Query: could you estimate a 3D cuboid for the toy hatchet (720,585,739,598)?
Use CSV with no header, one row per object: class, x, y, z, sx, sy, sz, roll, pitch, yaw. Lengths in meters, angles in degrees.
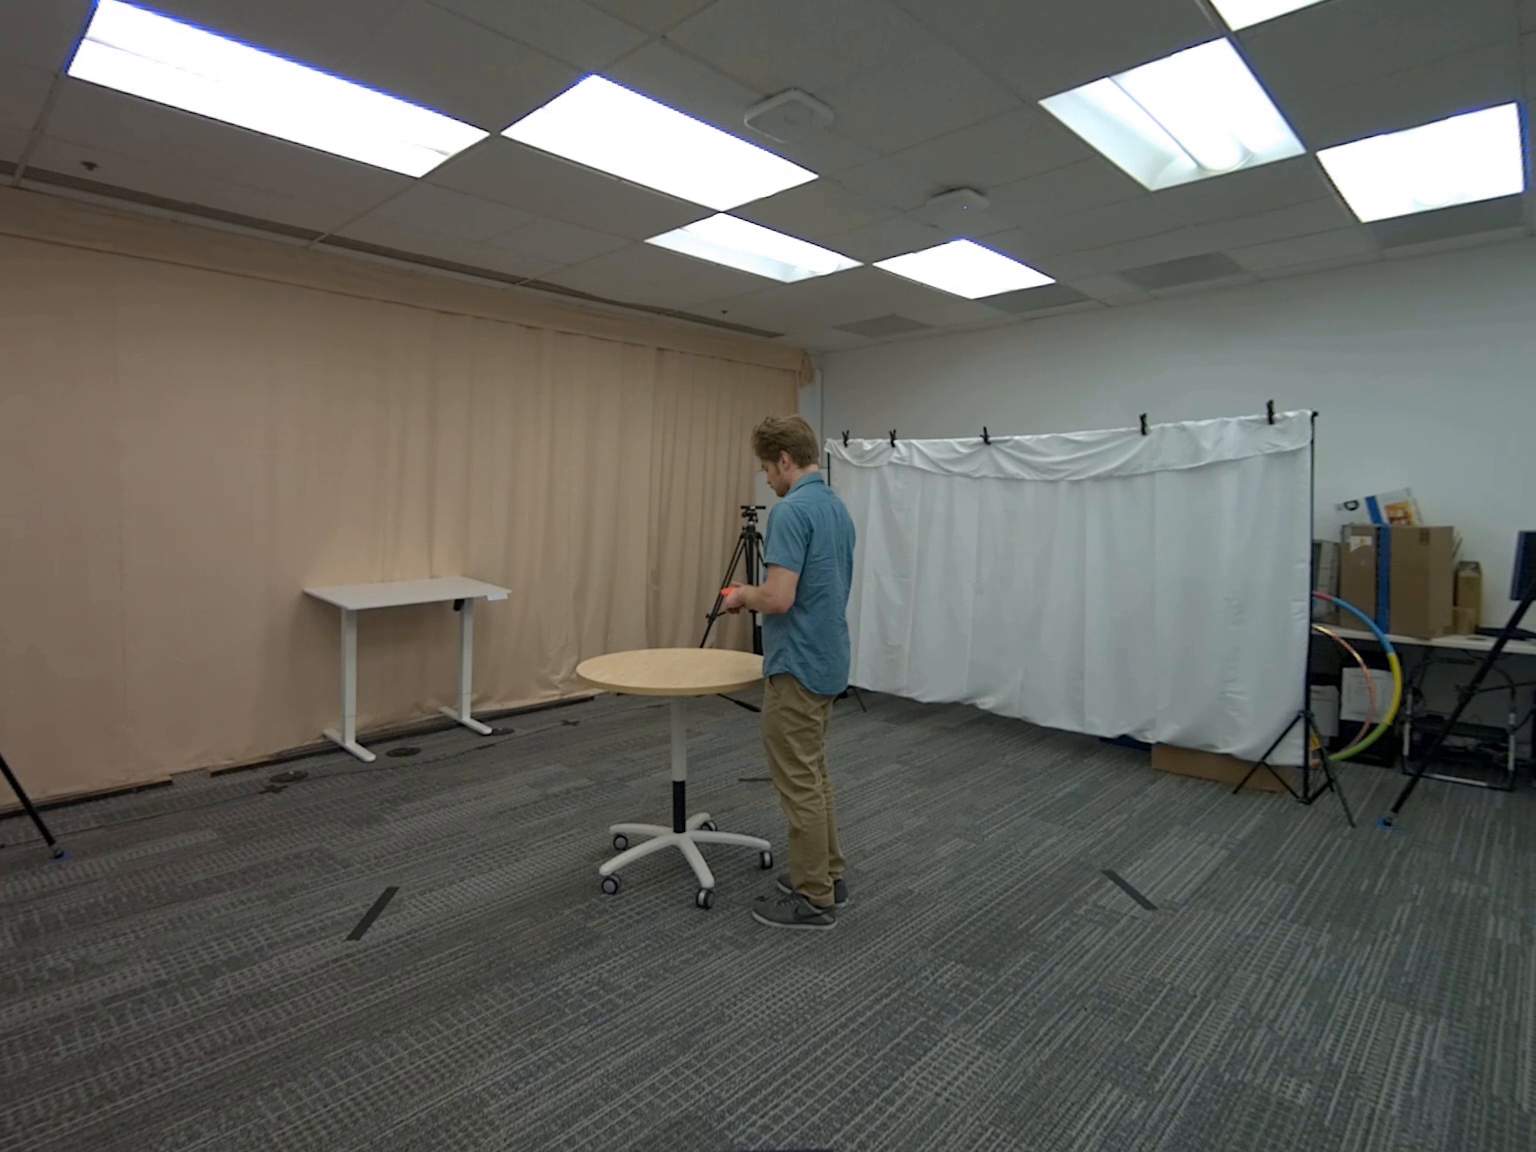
toy hatchet,-0.125,0.074,3.011,0.133,0.029,0.267,3,9,13
